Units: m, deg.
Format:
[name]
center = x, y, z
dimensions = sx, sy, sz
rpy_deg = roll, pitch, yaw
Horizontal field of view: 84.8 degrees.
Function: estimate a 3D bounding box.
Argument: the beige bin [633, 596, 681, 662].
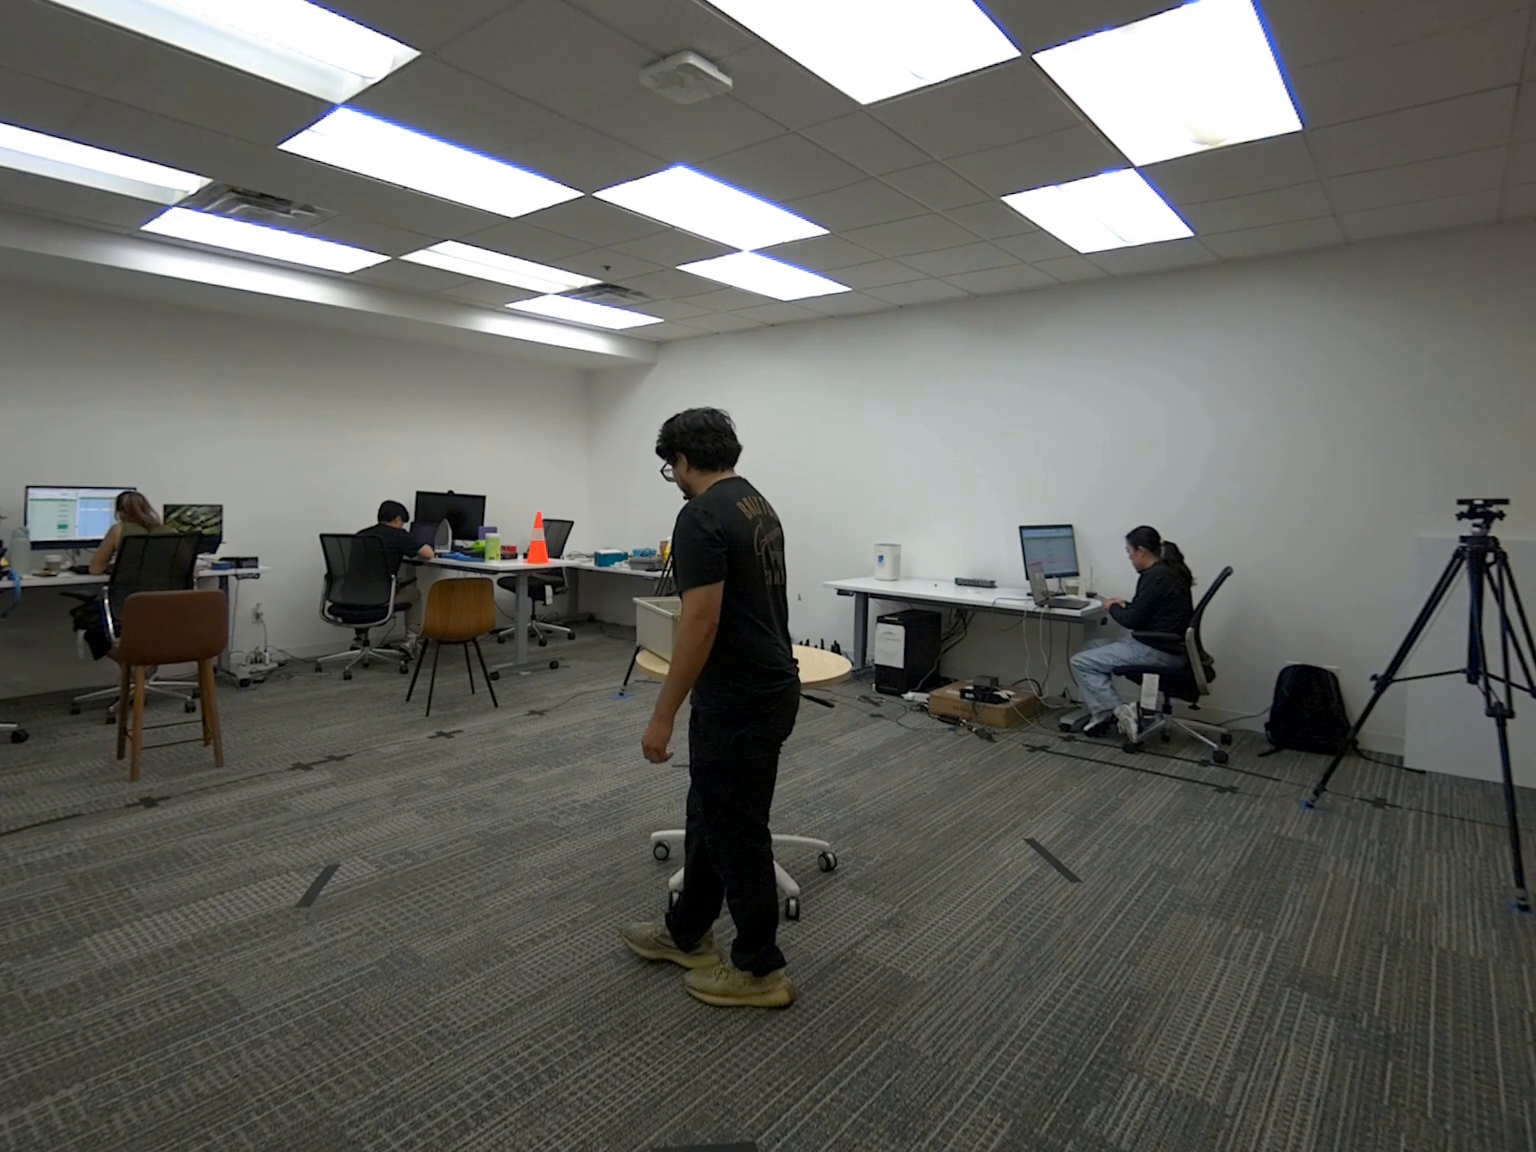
[beige bin]
center = -0.260, 0.188, 3.124
dimensions = 0.369, 0.188, 0.434
rpy_deg = -4, 7, -25
